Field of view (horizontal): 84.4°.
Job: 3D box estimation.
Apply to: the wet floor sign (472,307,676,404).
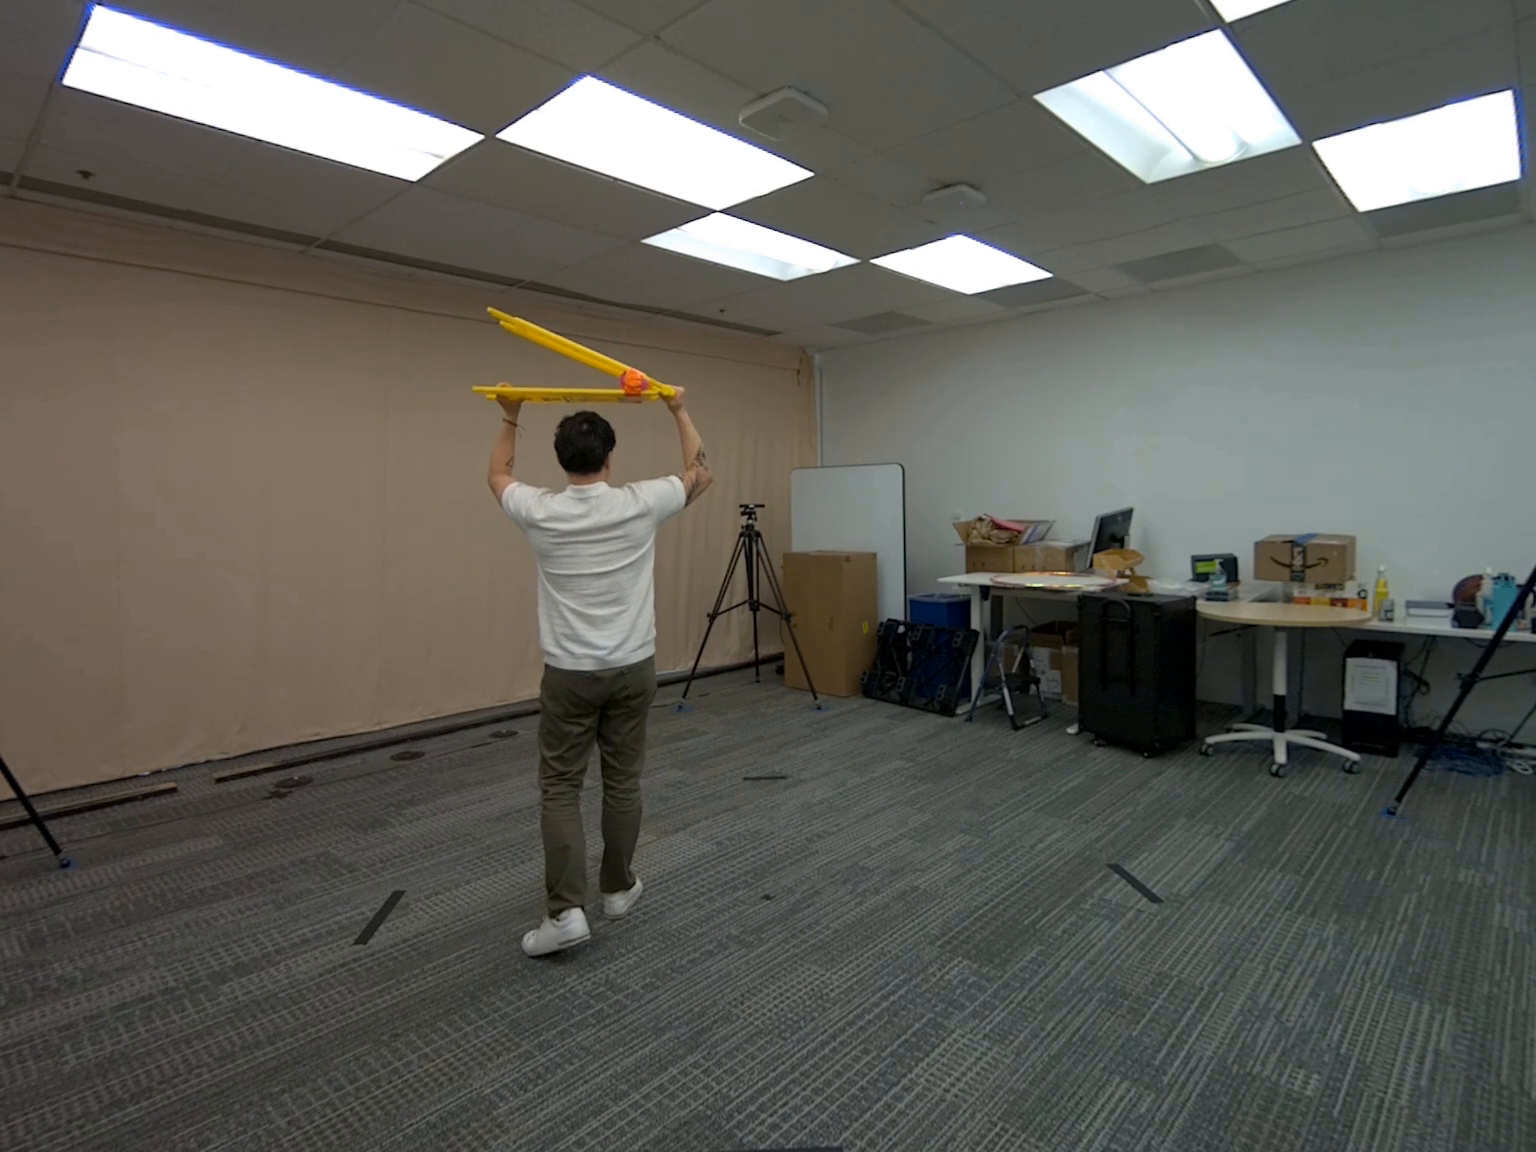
[{"bbox_3d":[-0.643,-0.685,2.863,0.644,0.289,0.284,11,3,-4],"label":"wet floor sign"}]
